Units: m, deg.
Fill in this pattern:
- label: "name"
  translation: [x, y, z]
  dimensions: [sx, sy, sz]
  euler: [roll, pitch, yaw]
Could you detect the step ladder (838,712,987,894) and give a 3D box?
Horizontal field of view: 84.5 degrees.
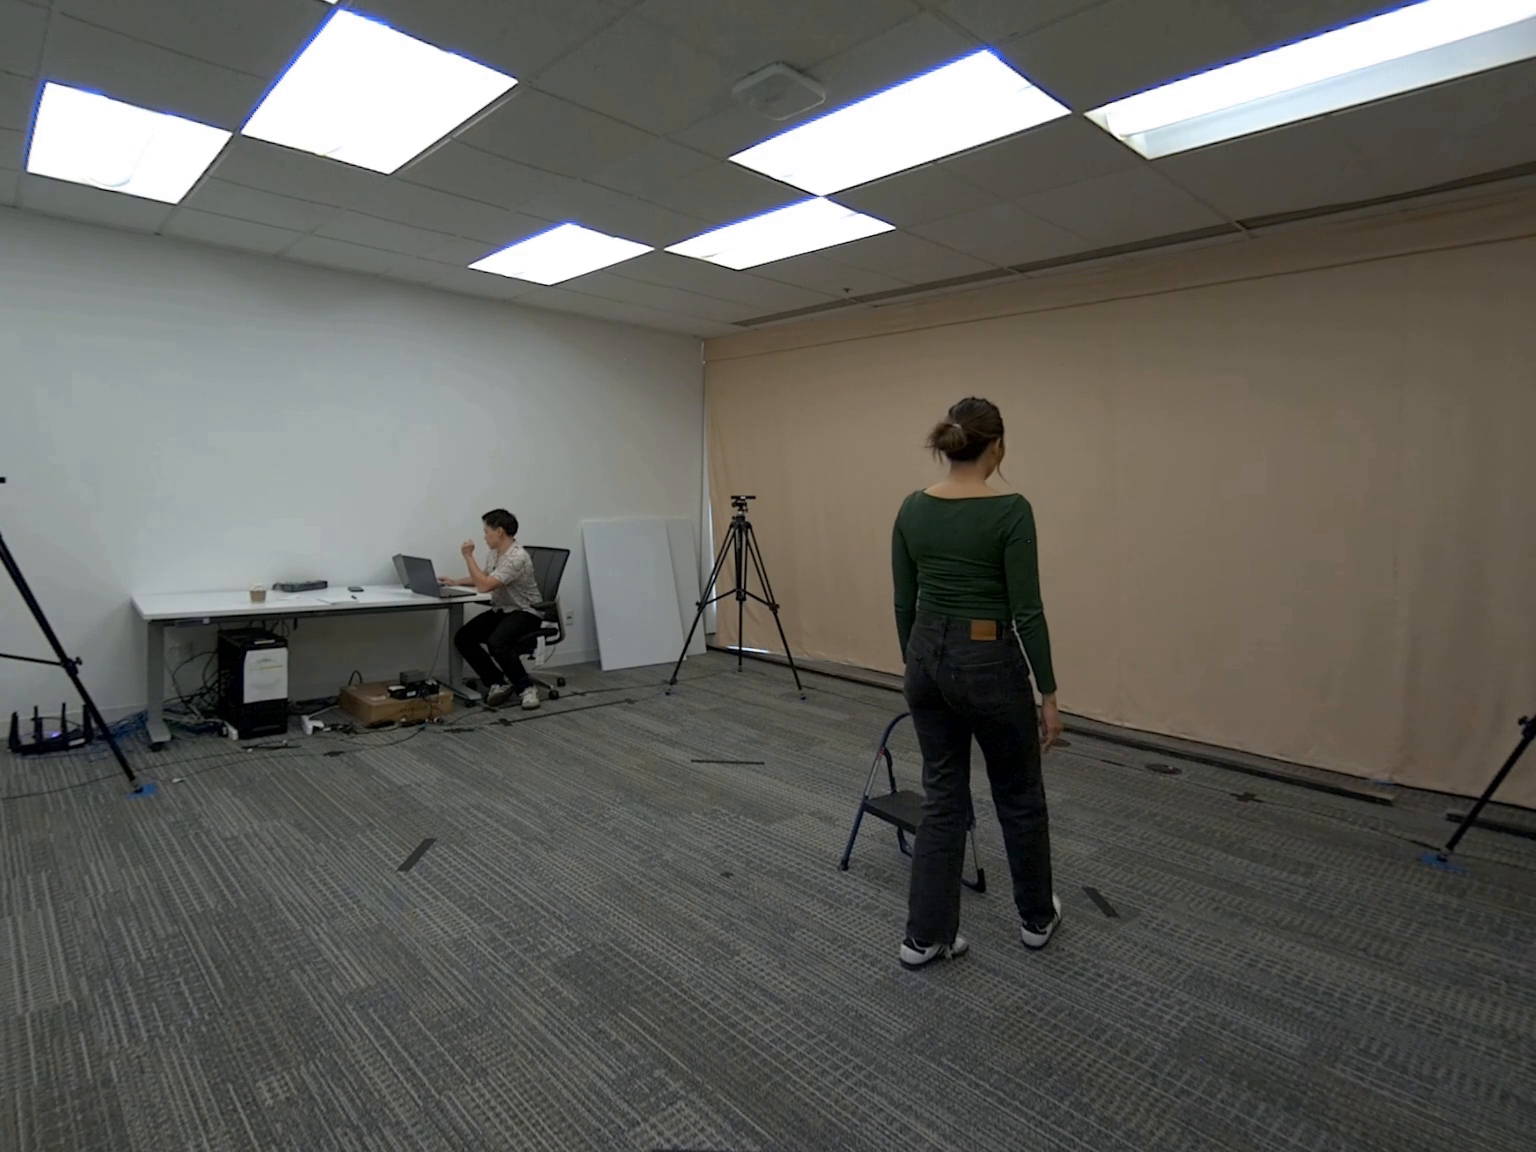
- label: "step ladder"
  translation: [0.532, 0.820, 3.076]
  dimensions: [0.341, 0.604, 0.441]
  euler: [-1, 5, -35]
